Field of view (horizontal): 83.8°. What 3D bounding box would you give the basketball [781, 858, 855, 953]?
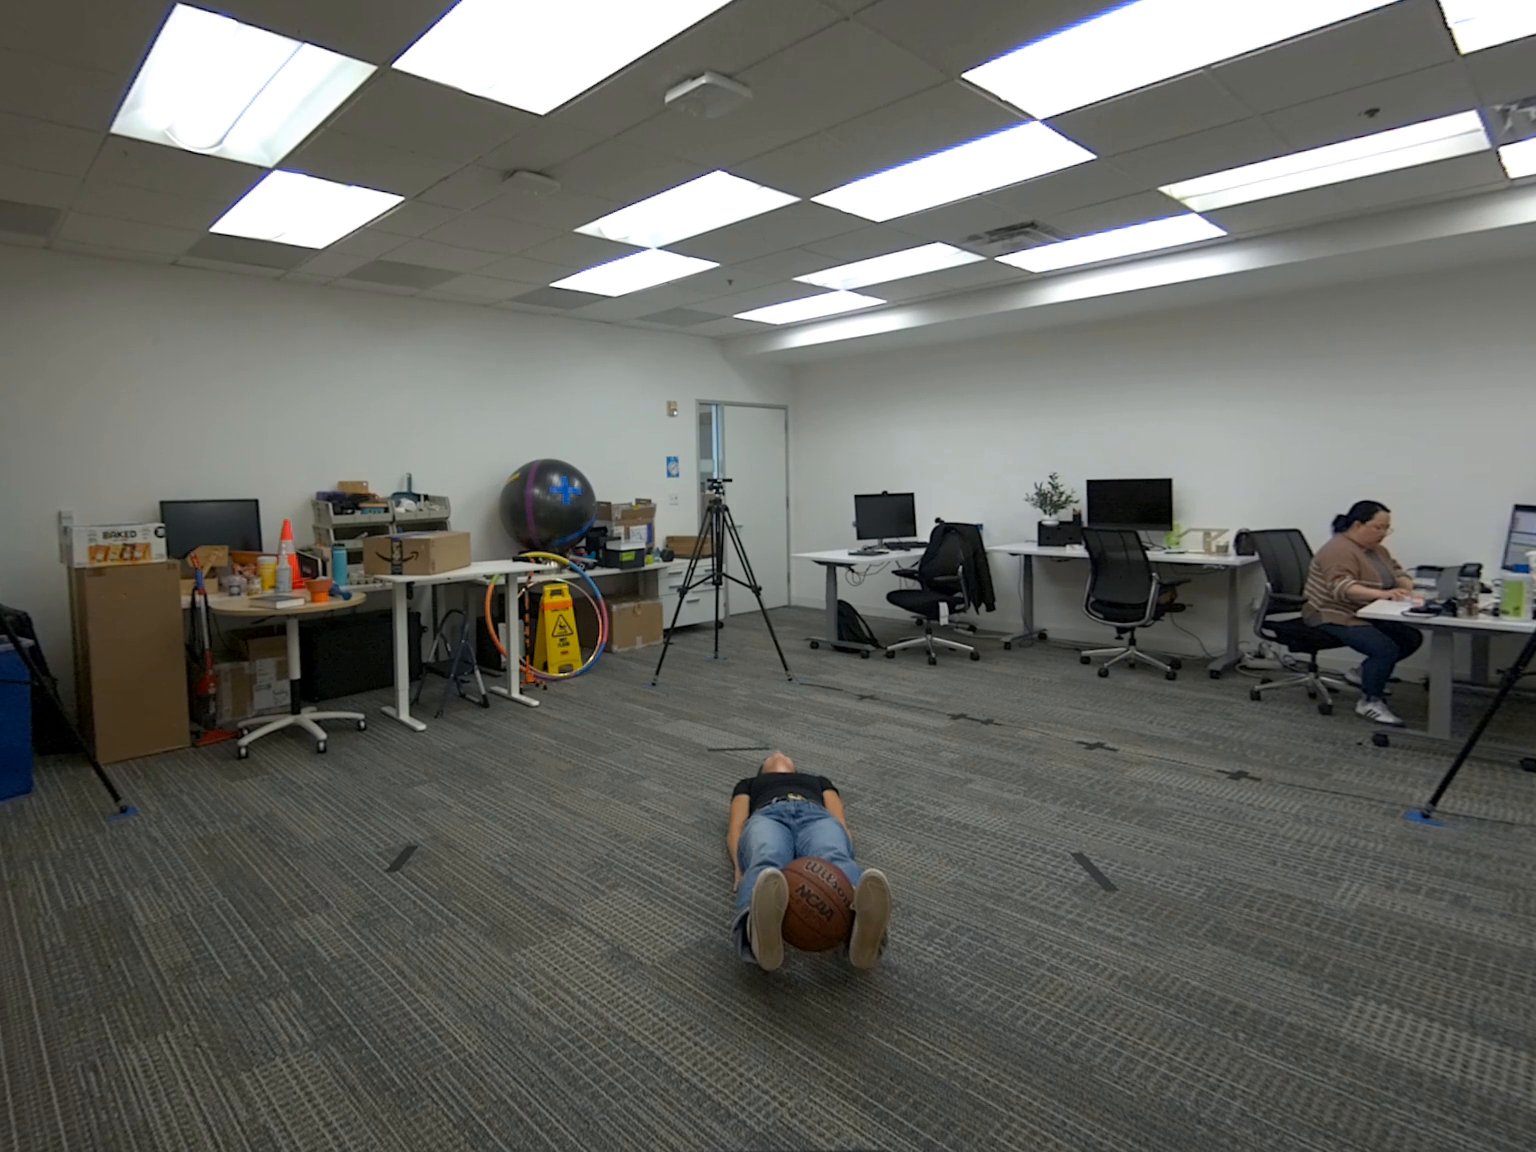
[{"bbox_3d":[0.128,0.884,2.323,0.236,0.235,0.237,-1,5,-2],"label":"basketball"}]
